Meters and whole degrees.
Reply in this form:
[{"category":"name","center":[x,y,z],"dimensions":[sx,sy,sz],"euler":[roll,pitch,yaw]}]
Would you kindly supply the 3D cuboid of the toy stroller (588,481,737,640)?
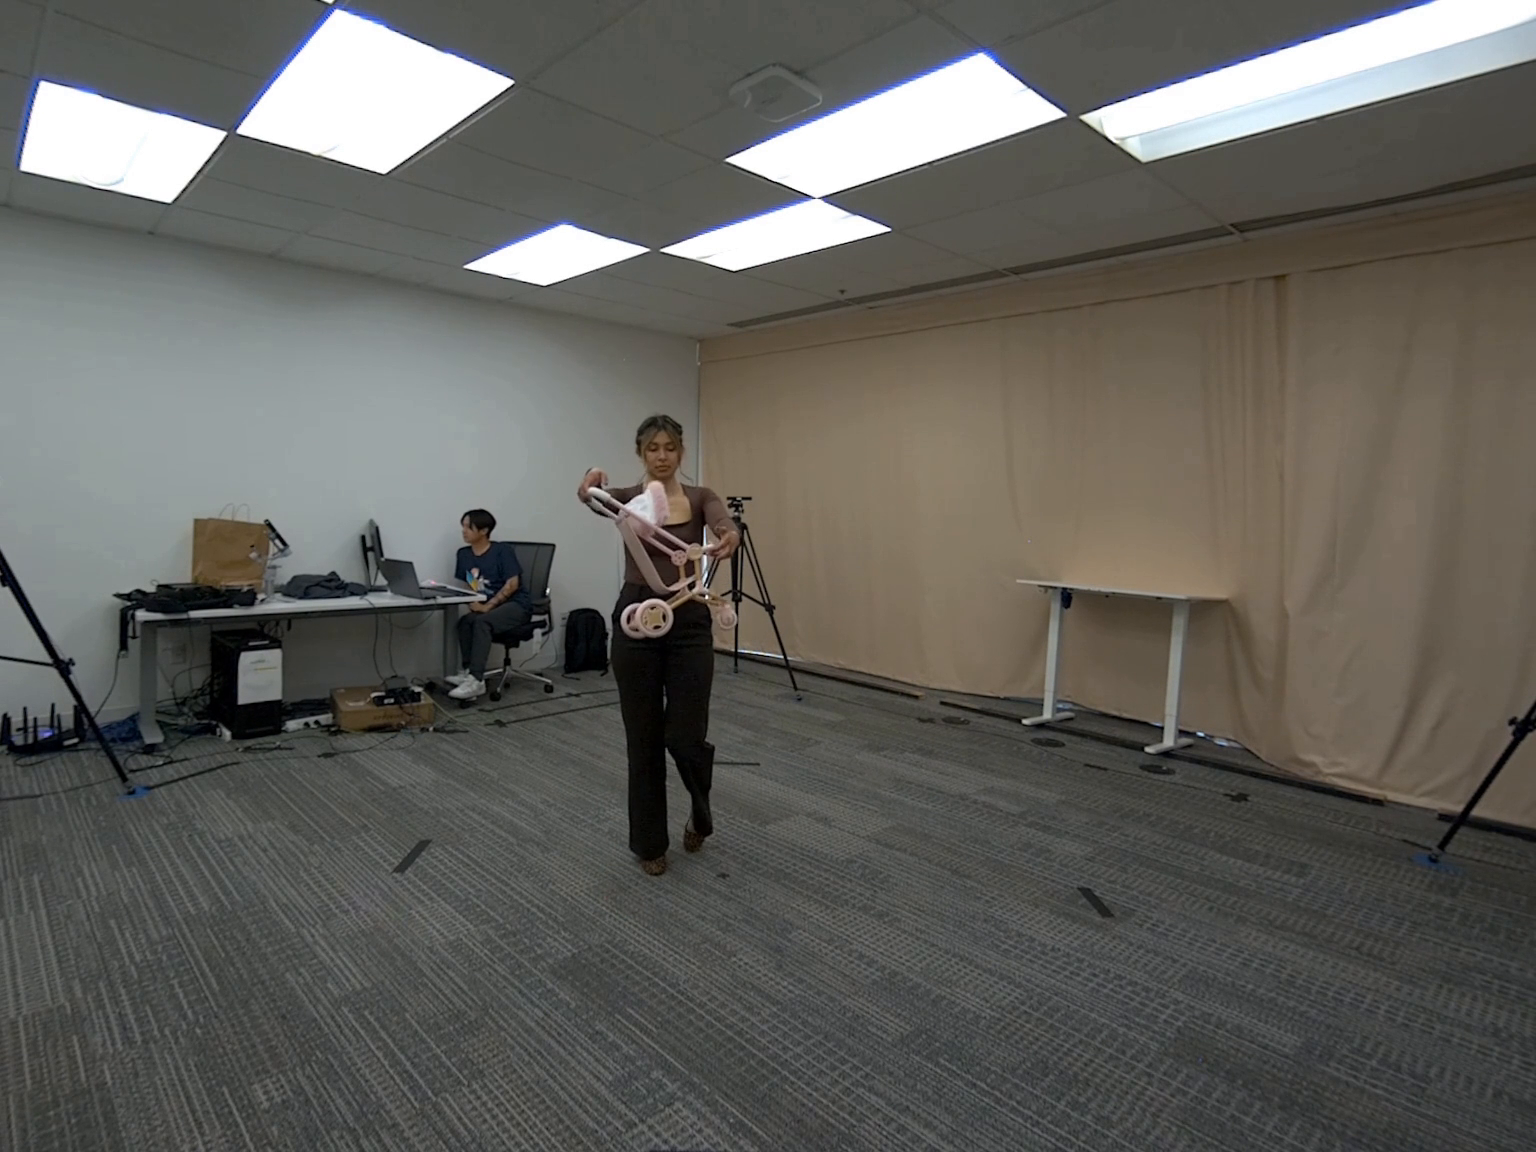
[{"category":"toy stroller","center":[-0.334,-0.042,2.573],"dimensions":[0.338,0.536,0.283],"euler":[-17,-1,-15]}]
